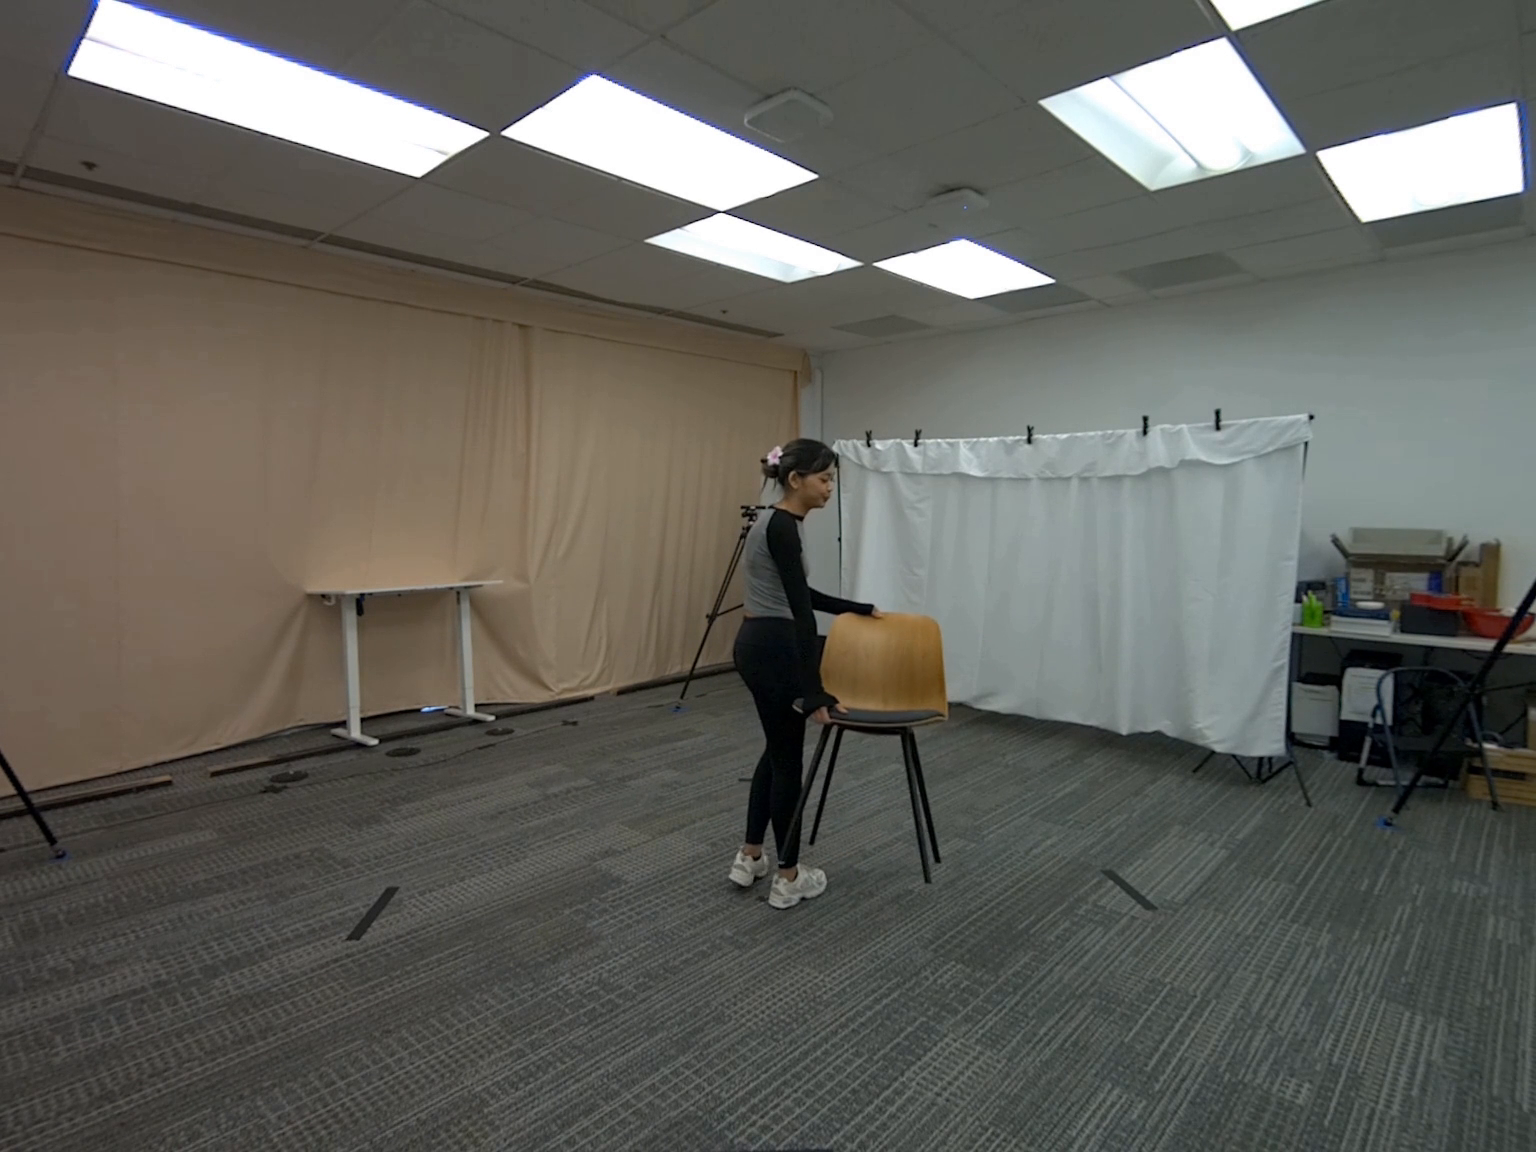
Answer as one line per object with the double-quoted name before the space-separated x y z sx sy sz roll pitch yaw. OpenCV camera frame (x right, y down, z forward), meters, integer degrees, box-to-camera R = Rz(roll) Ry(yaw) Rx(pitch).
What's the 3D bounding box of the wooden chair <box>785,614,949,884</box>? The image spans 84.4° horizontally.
"wooden chair" 0.350 0.502 2.757 0.487 0.884 0.509 1 -15 17
